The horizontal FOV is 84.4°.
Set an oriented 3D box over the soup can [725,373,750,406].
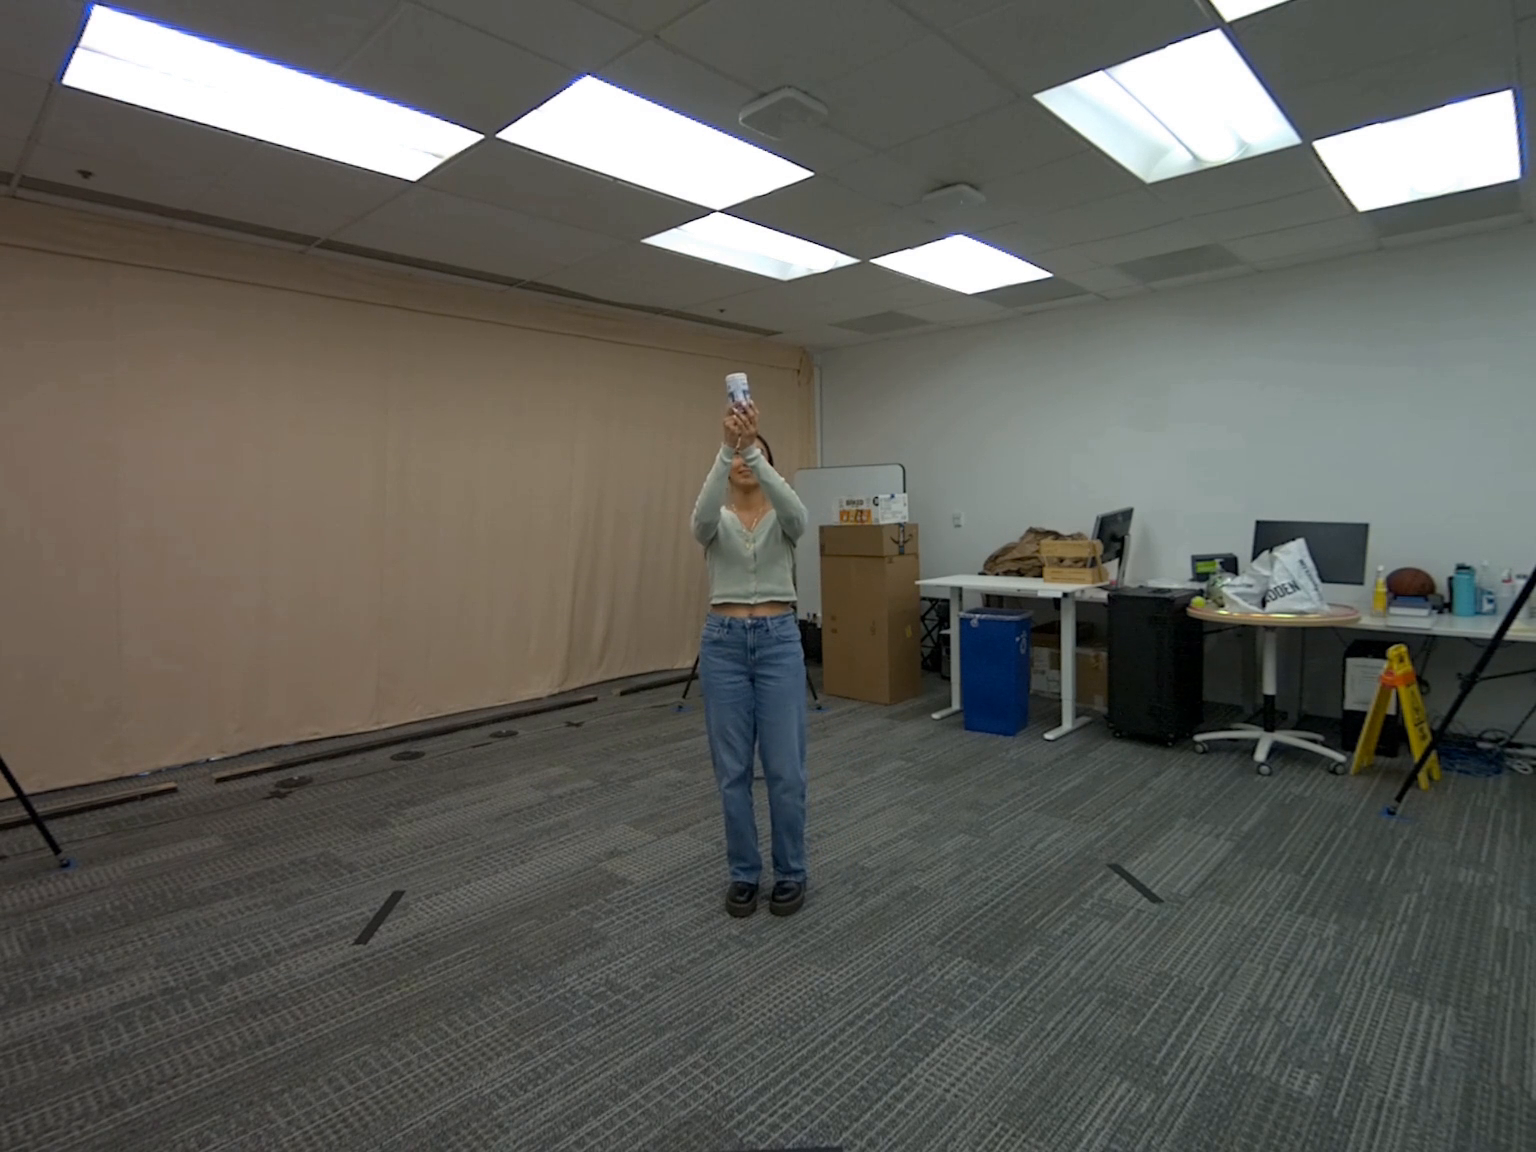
[{"bbox_3d":[-0.089,-0.563,2.615,0.067,0.121,0.067,-9,1,-2],"label":"soup can"}]
